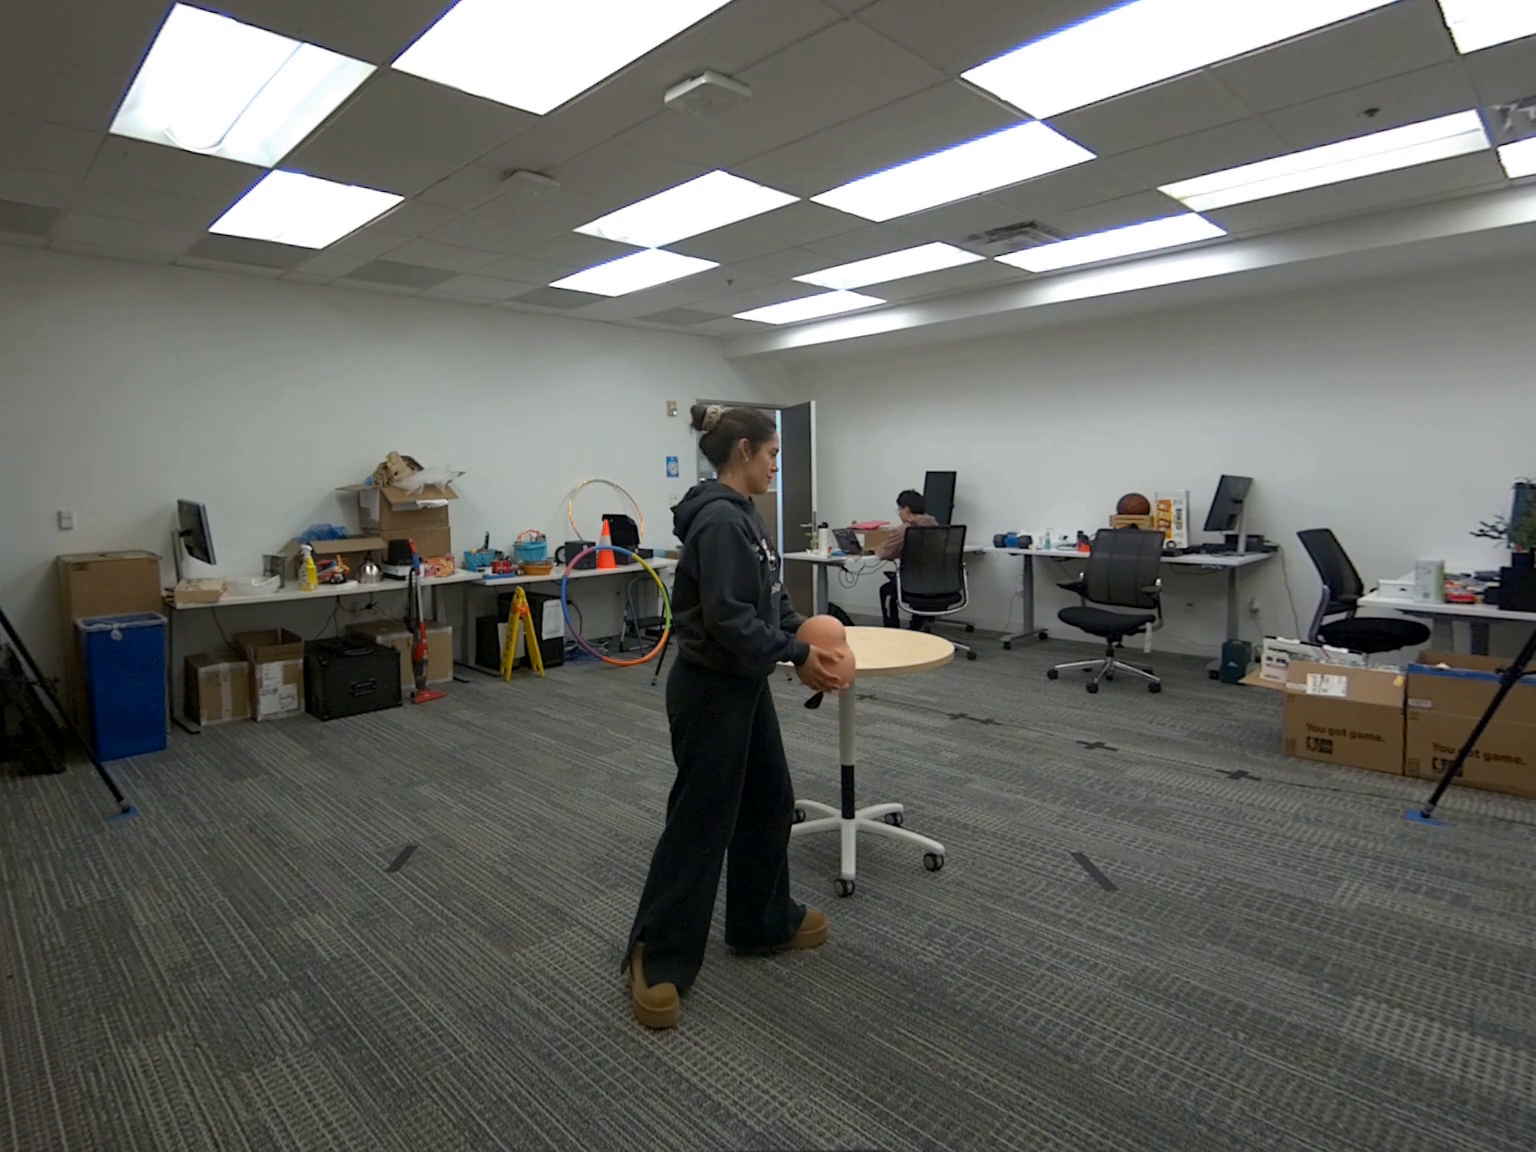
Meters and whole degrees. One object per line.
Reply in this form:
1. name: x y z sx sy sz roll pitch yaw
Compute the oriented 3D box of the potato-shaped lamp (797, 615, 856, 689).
1. potato-shaped lamp: 0.146 0.201 2.348 0.174 0.197 0.163 2 5 12
